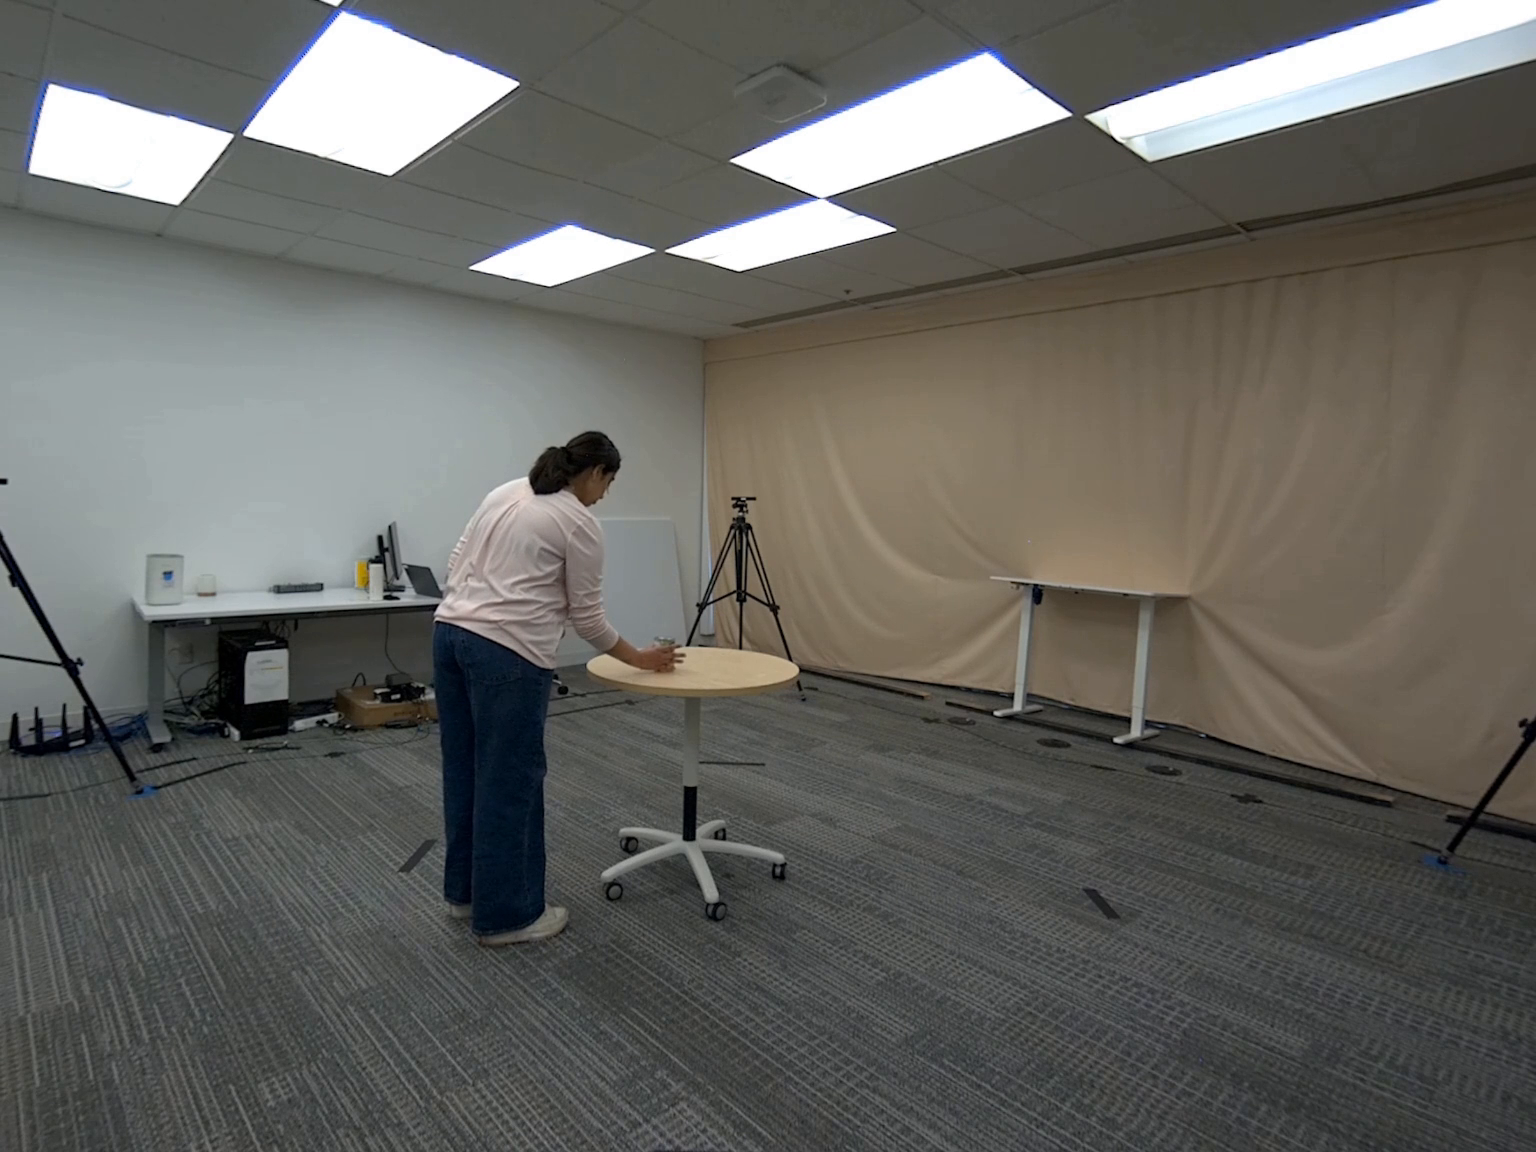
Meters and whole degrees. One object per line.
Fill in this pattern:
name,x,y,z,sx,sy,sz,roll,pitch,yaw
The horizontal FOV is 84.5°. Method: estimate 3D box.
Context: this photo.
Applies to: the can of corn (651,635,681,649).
can of corn,-0.371,0.278,2.940,0.074,0.111,0.074,1,5,-1
